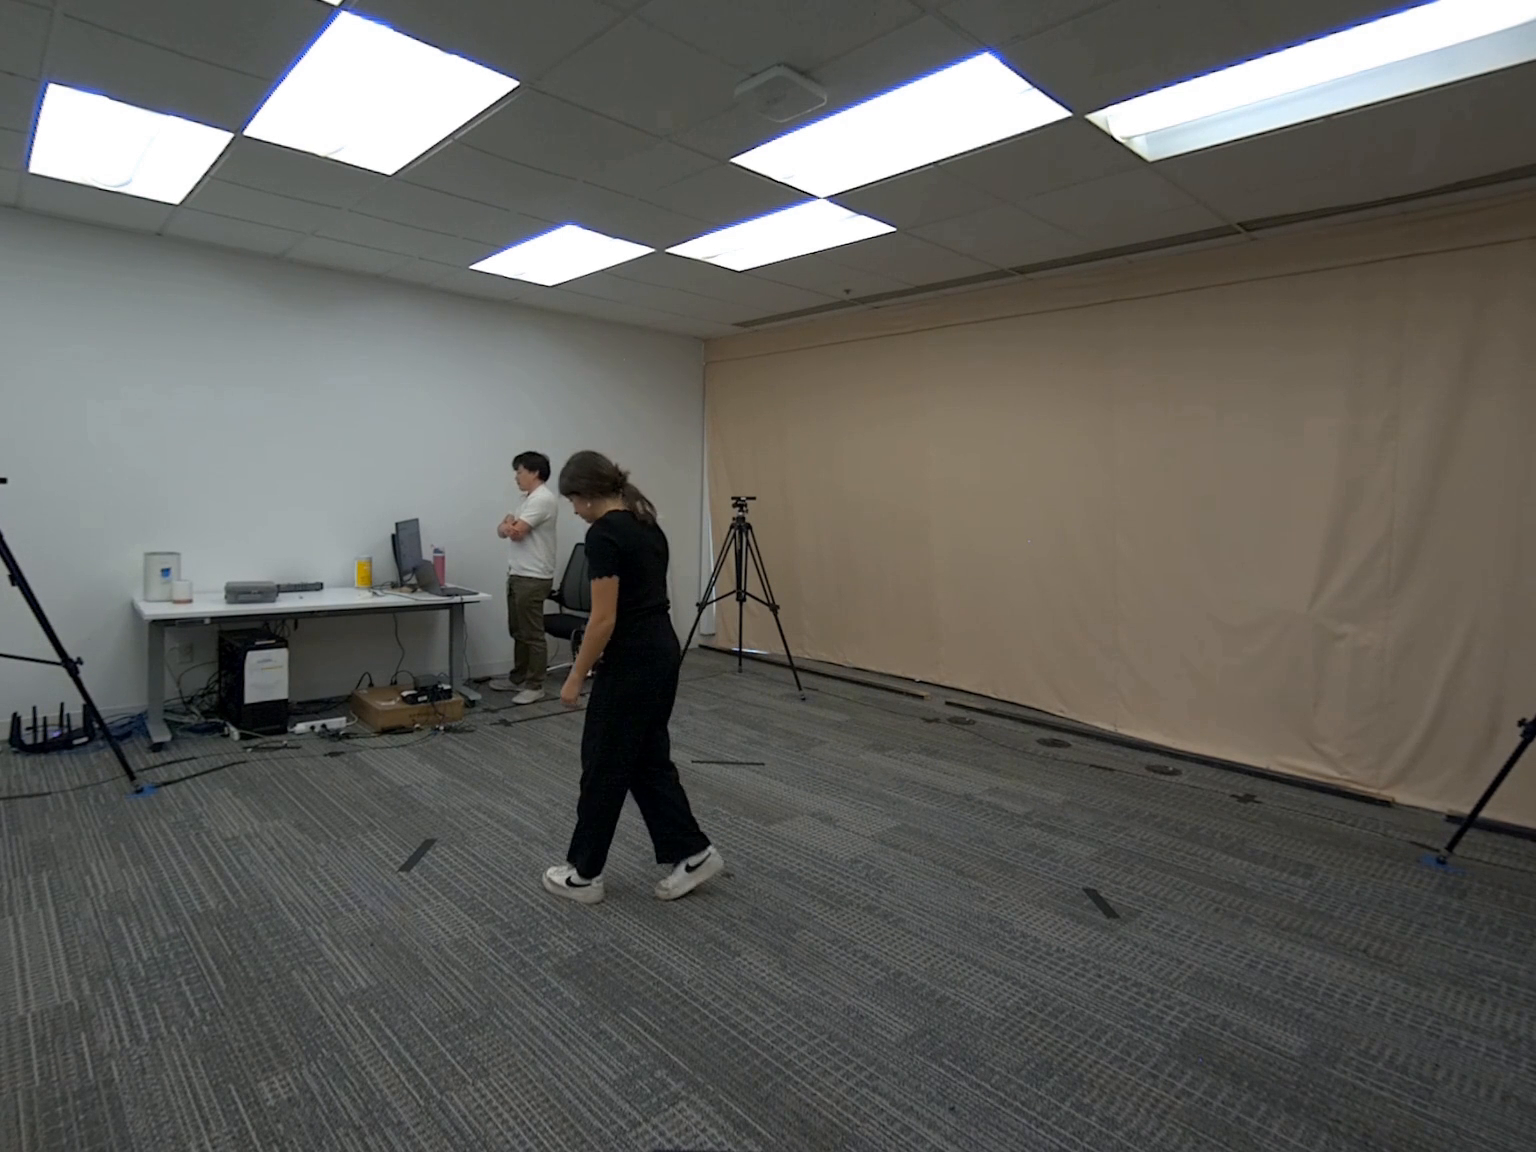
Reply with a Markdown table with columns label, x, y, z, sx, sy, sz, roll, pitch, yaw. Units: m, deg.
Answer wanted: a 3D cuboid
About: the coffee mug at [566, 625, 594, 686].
| label | x | y | z | sx | sy | sz | roll | pitch | yaw |
| --- | --- | --- | --- | --- | --- | --- | --- | --- | --- |
| coffee mug | -0.678 | 0.294 | 3.125 | 0.121 | 0.205 | 0.088 | 4 | -16 | -11 |
